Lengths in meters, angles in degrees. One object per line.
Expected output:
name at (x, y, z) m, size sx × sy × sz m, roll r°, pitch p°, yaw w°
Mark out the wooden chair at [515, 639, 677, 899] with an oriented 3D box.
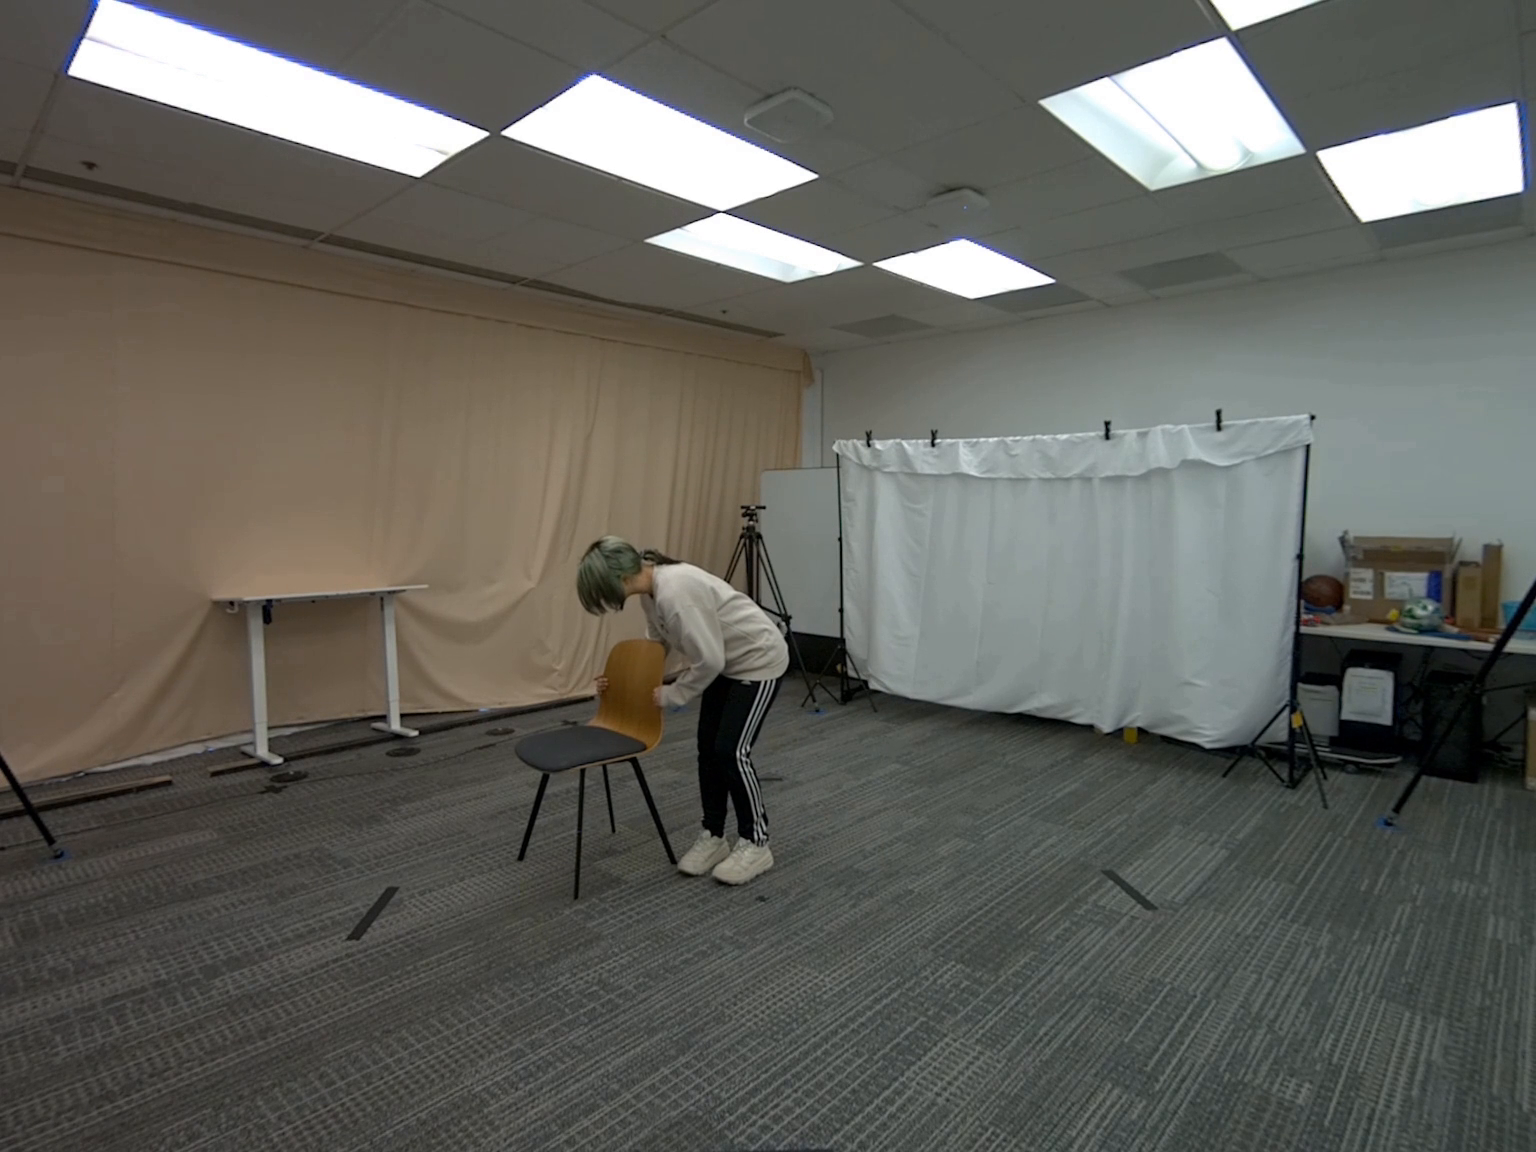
wooden chair at (-0.684, 0.701, 3.267) m, size 0.506 × 0.877 × 0.494 m, roll 1°, pitch 2°, yaw -42°
